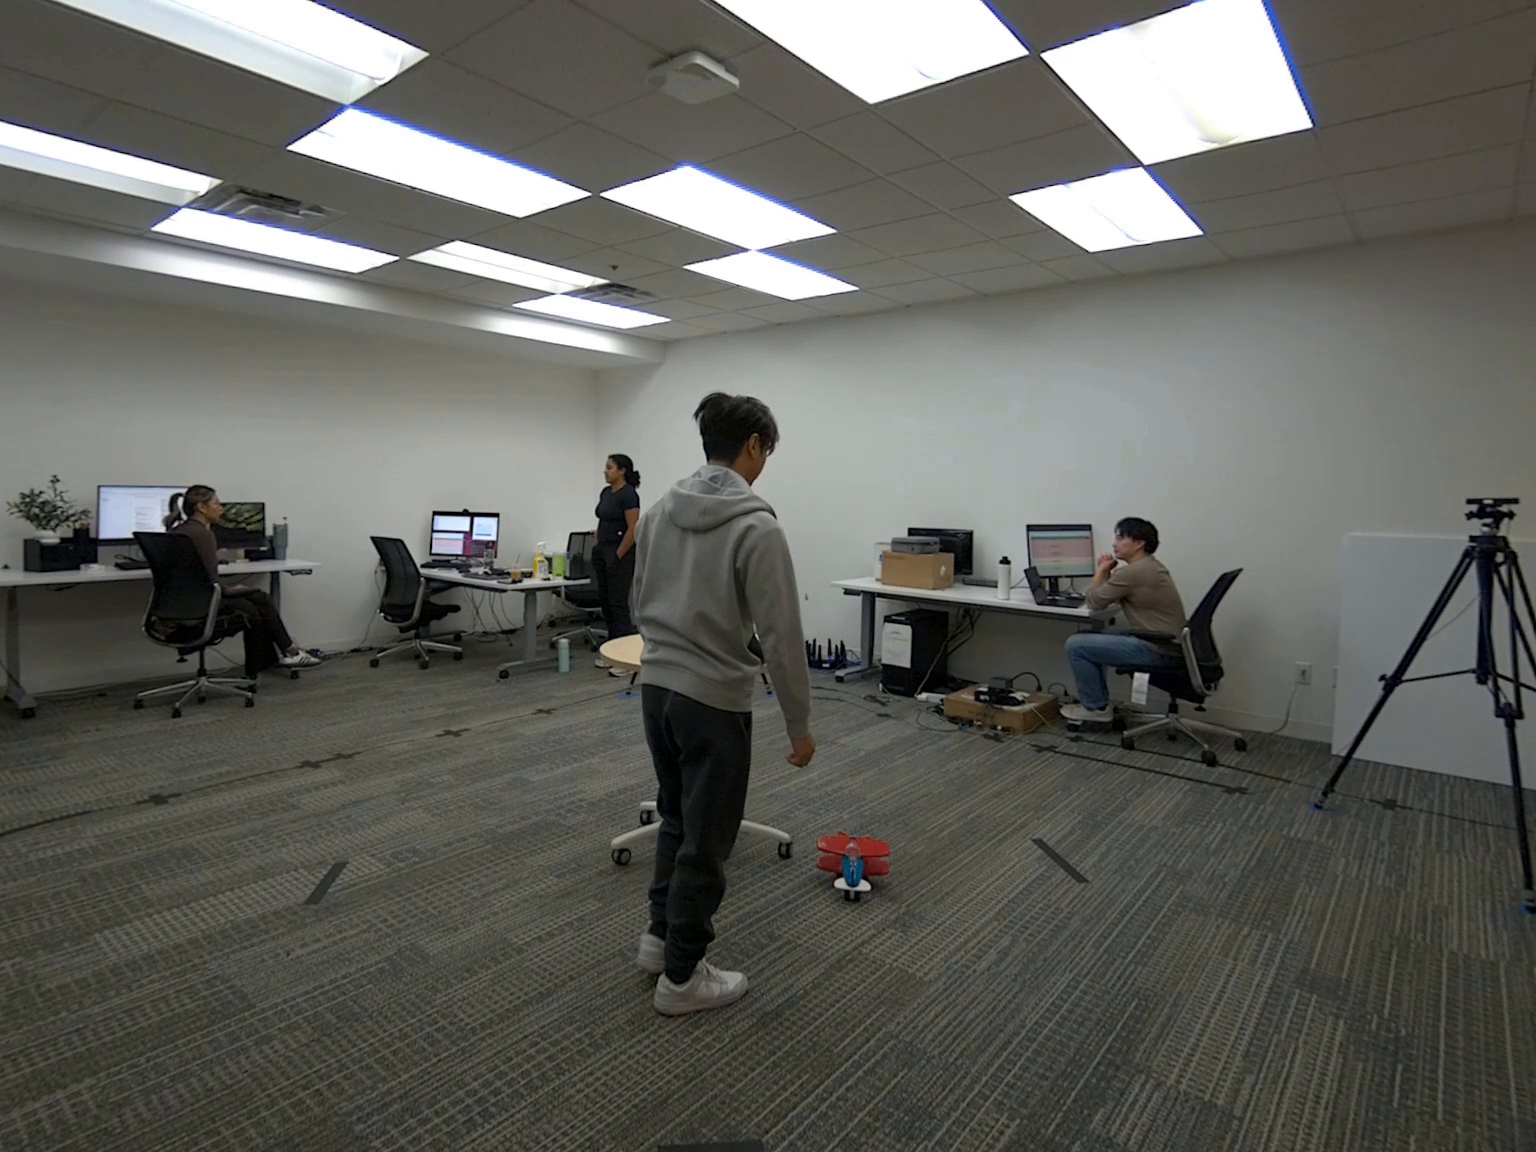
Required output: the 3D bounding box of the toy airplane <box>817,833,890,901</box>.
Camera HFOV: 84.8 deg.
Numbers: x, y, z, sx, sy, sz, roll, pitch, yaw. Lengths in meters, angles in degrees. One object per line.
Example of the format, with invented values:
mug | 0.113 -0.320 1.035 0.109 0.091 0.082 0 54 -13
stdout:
toy airplane | 0.305 1.016 2.982 0.246 0.156 0.265 -1 5 -21
